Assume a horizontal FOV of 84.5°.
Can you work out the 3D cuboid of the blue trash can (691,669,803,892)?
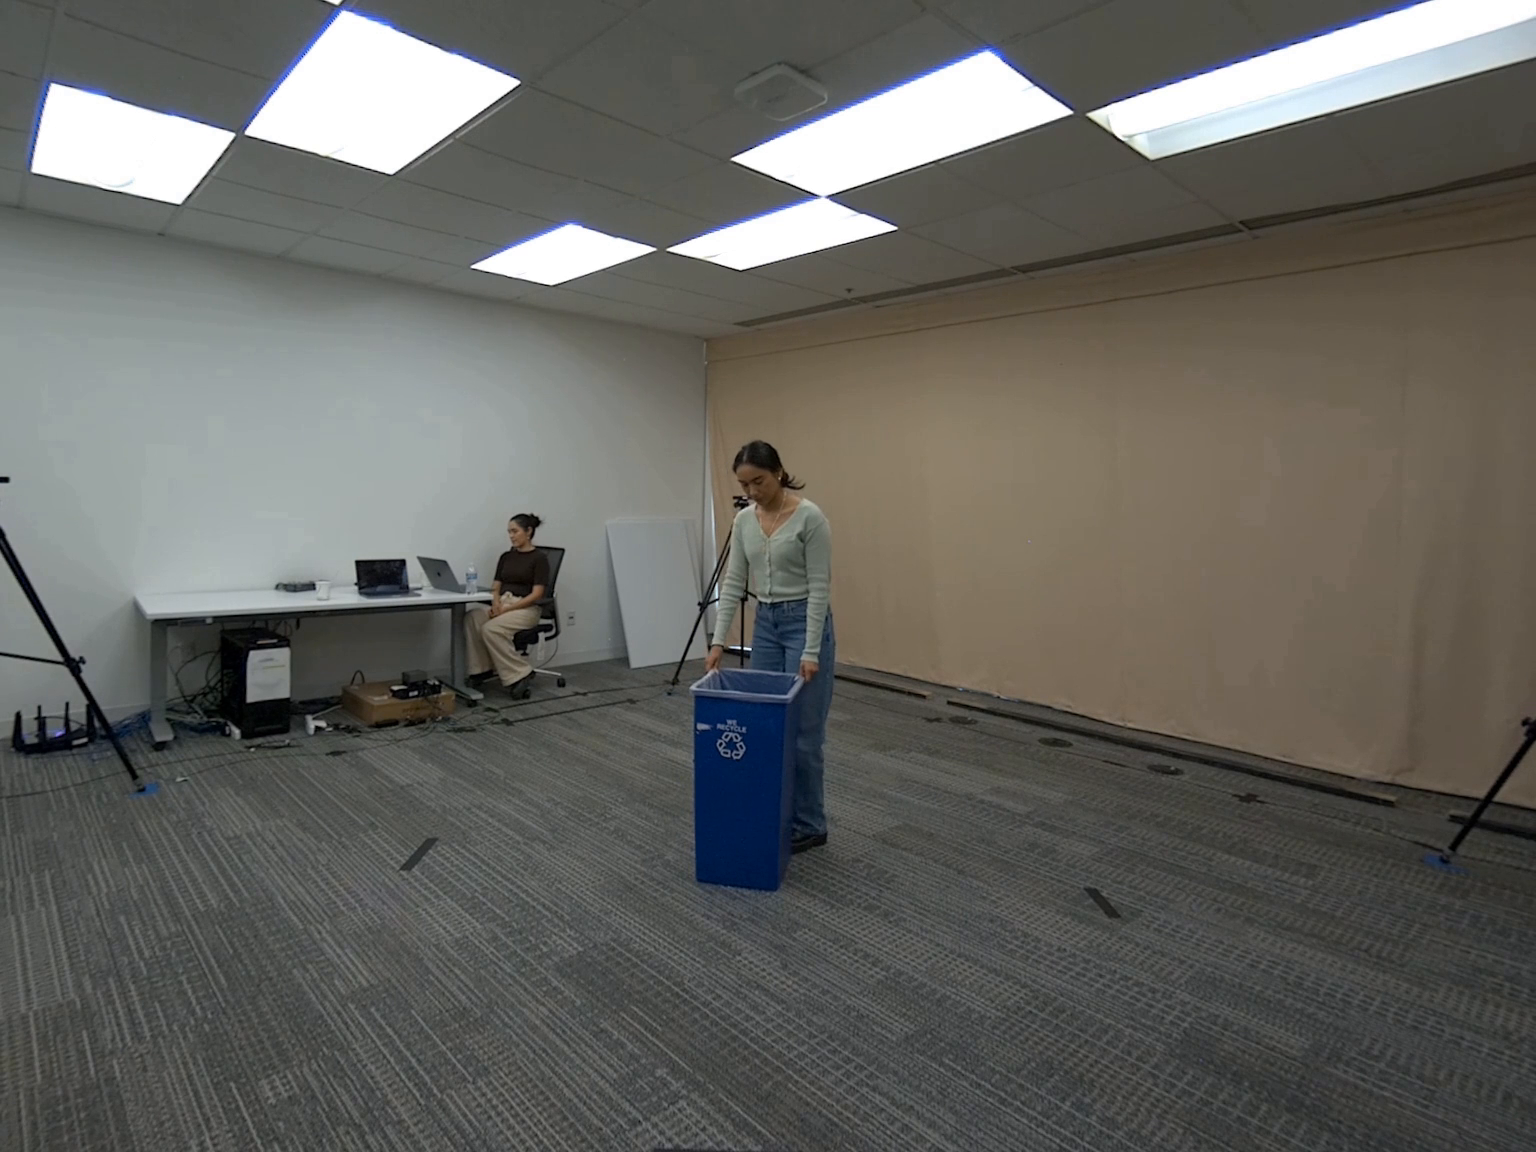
[{"bbox_3d":[-0.082,0.741,3.127,0.378,0.711,0.375,1,4,12],"label":"blue trash can"}]
